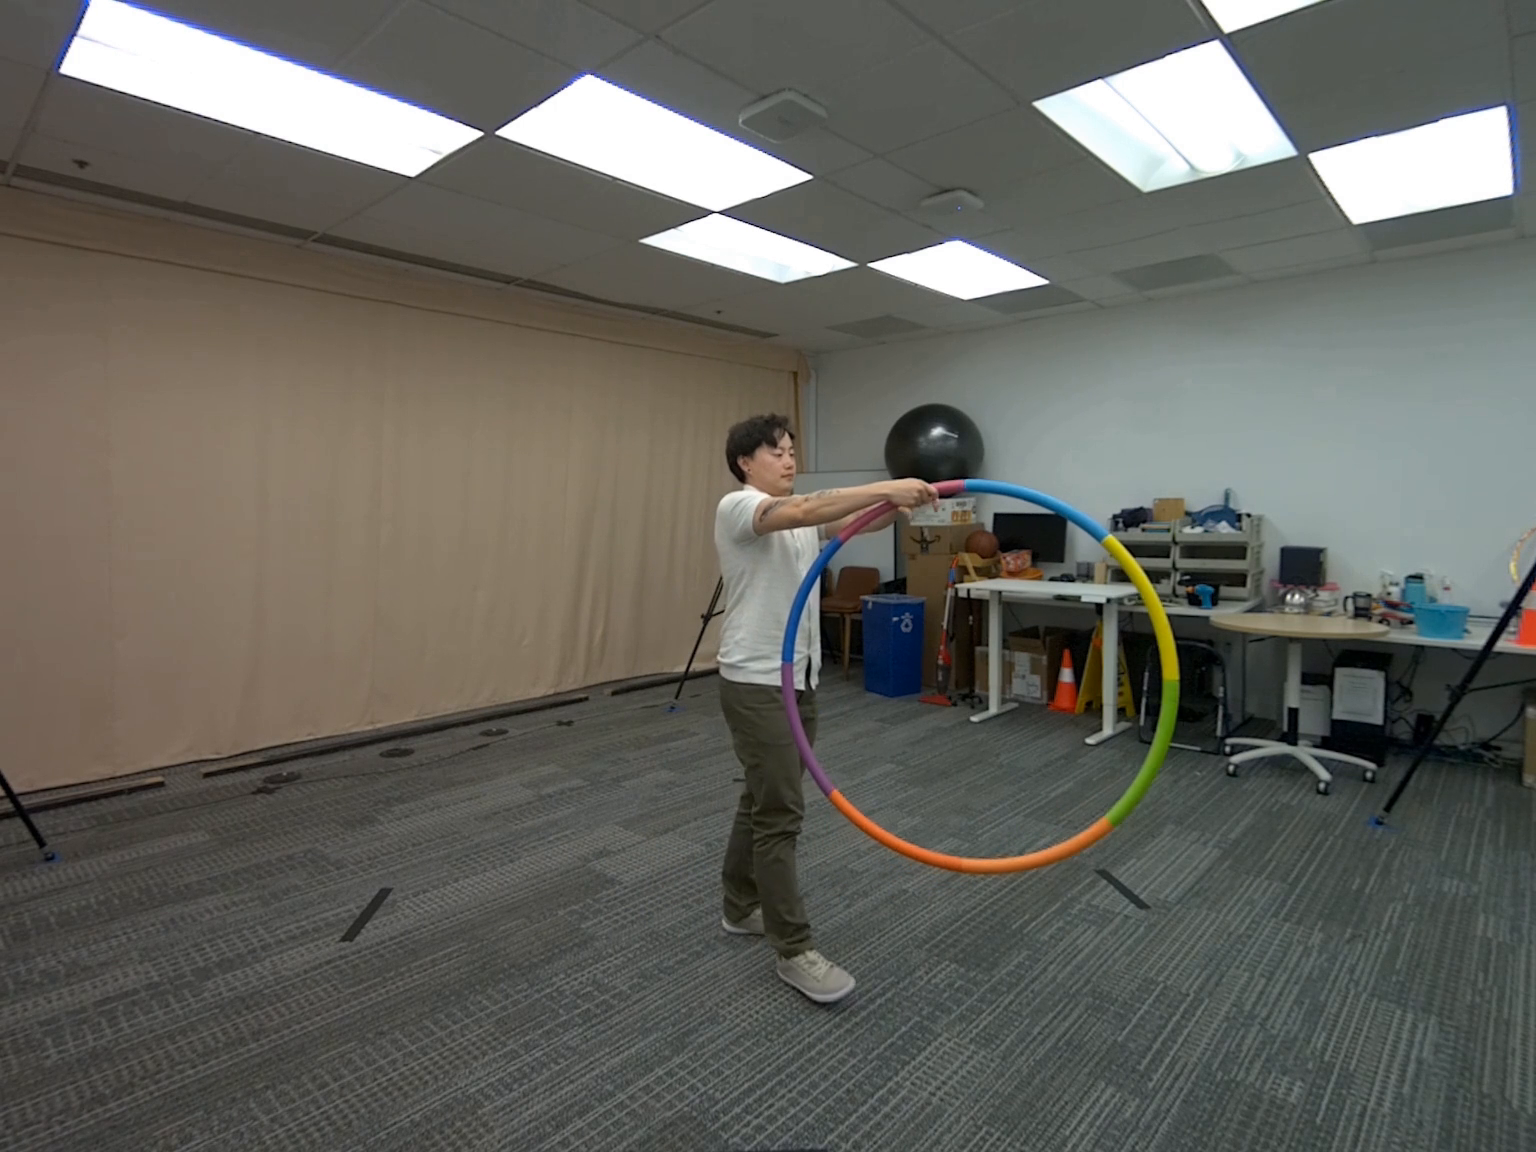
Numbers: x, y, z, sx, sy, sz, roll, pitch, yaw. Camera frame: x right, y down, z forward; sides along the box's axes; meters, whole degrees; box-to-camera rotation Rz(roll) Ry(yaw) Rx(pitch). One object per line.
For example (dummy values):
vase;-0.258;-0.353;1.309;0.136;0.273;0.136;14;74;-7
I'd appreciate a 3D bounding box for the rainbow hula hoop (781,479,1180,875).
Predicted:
rainbow hula hoop;0.512;0.243;2.159;1.000;0.982;0.034;1;-7;21
